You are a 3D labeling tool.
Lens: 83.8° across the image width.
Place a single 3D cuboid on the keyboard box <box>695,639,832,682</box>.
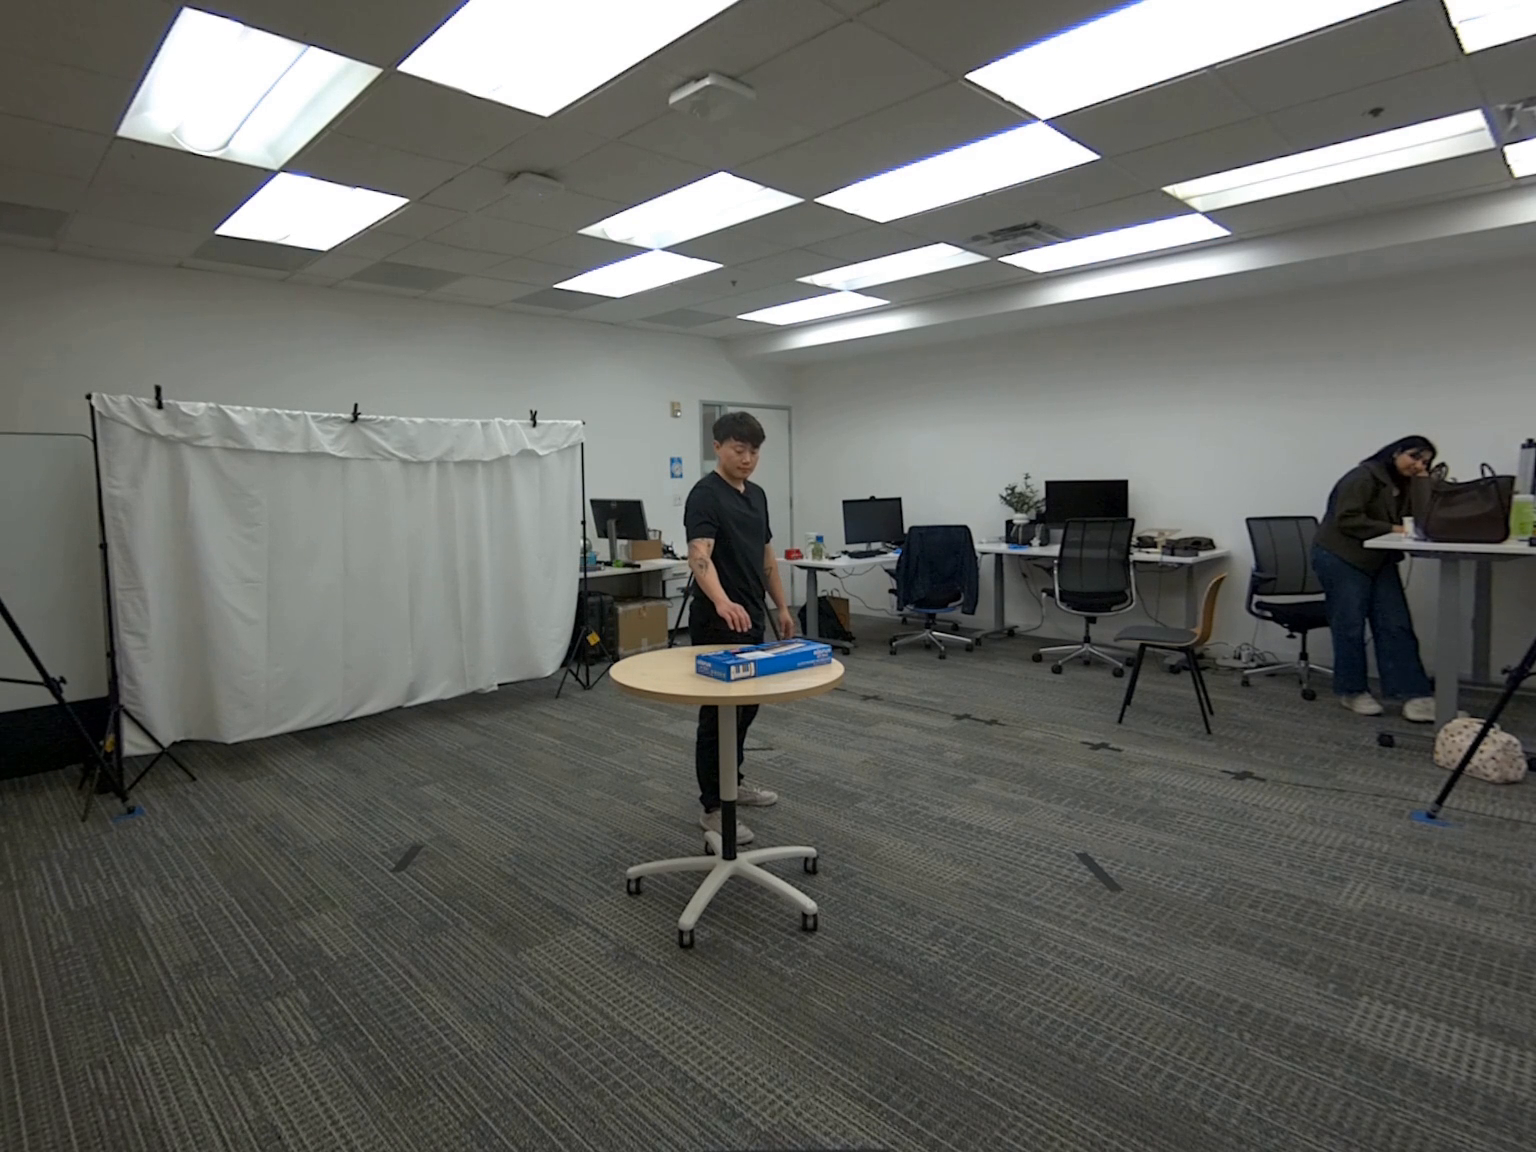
[{"bbox_3d":[-0.009,0.273,2.780,0.426,0.059,0.181,-6,8,-38],"label":"keyboard box"}]
